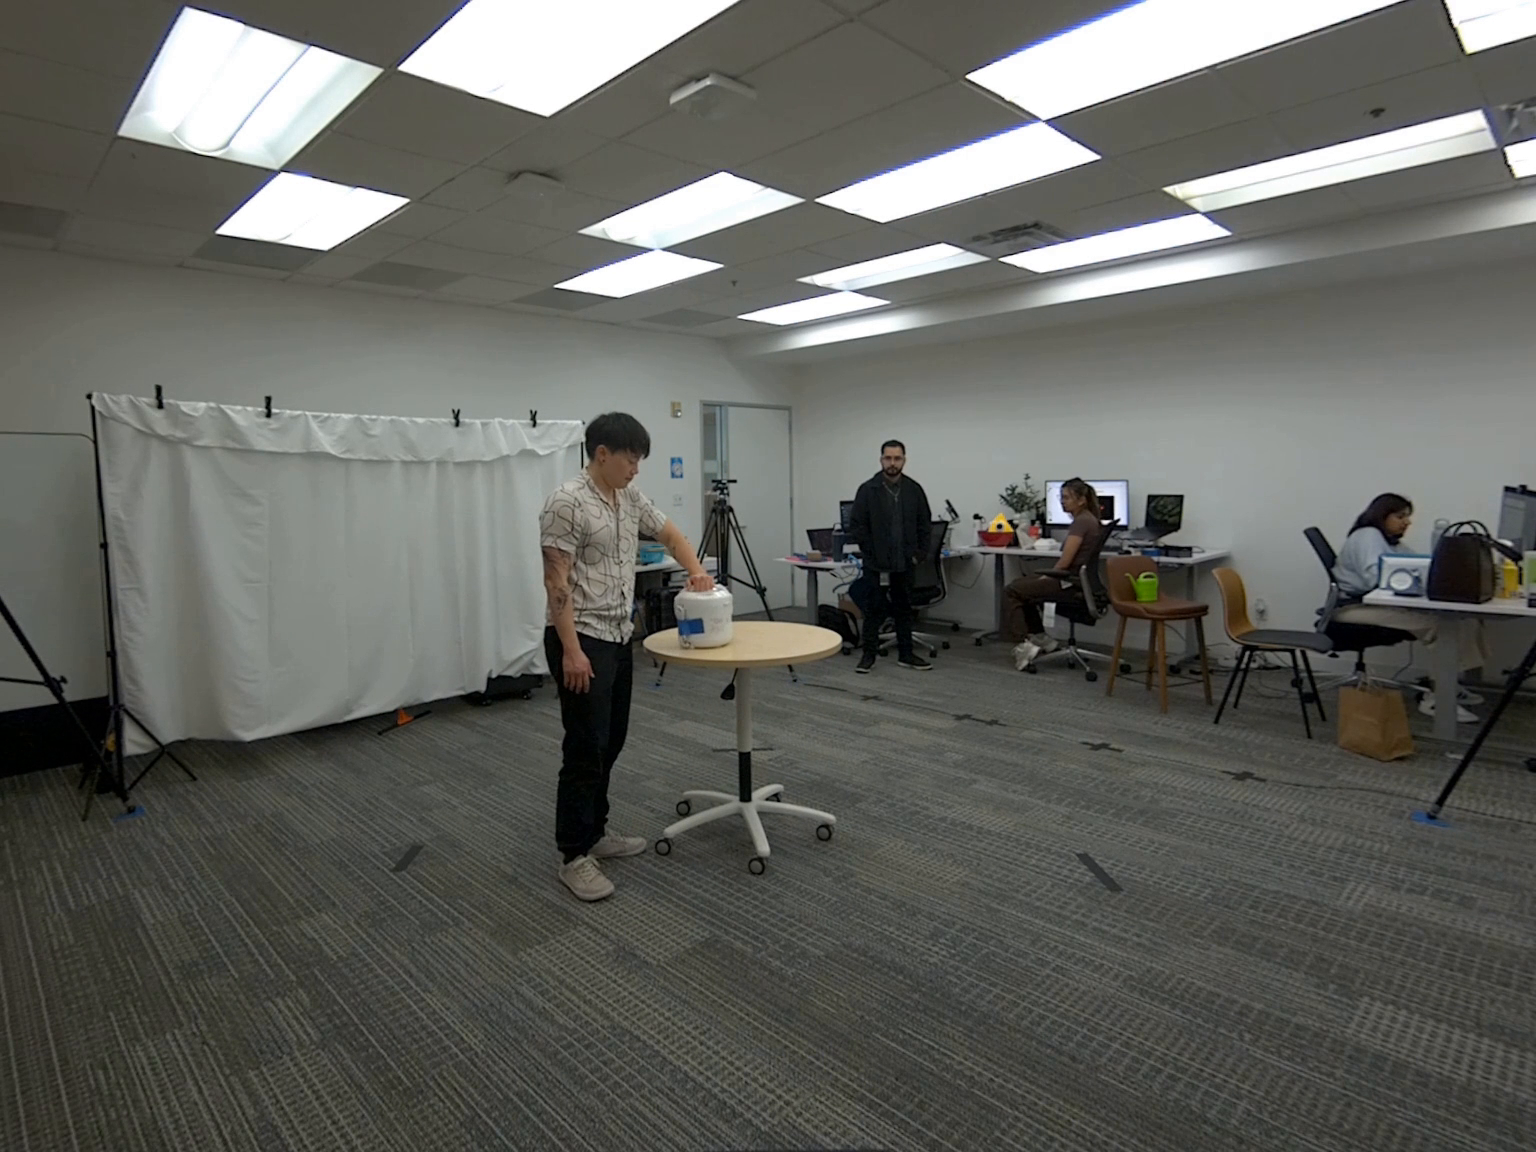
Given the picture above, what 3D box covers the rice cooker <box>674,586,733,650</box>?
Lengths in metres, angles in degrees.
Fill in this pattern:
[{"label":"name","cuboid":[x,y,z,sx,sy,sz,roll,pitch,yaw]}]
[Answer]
[{"label":"rice cooker","cuboid":[-0.239,0.140,3.213,0.220,0.232,0.219,-1,5,-2]}]
